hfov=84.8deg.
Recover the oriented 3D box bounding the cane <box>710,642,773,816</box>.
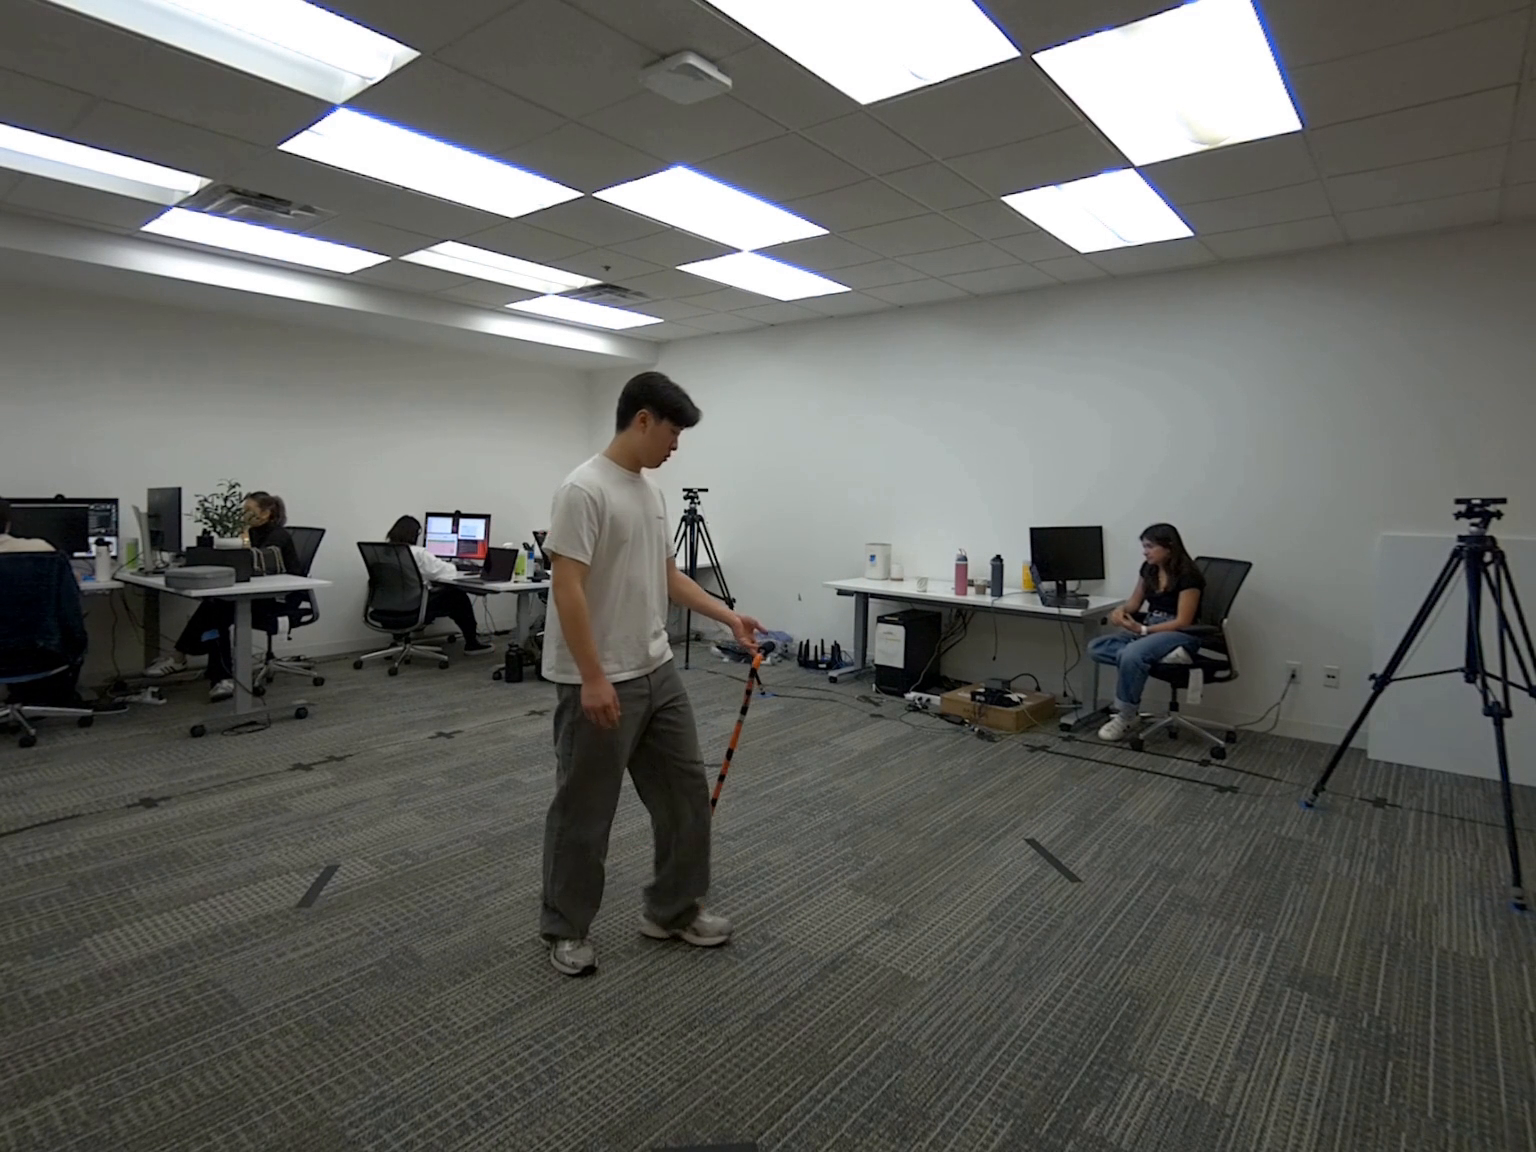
[{"bbox_3d":[-0.162,0.645,2.796,0.155,0.903,0.203,20,8,15],"label":"cane"}]
